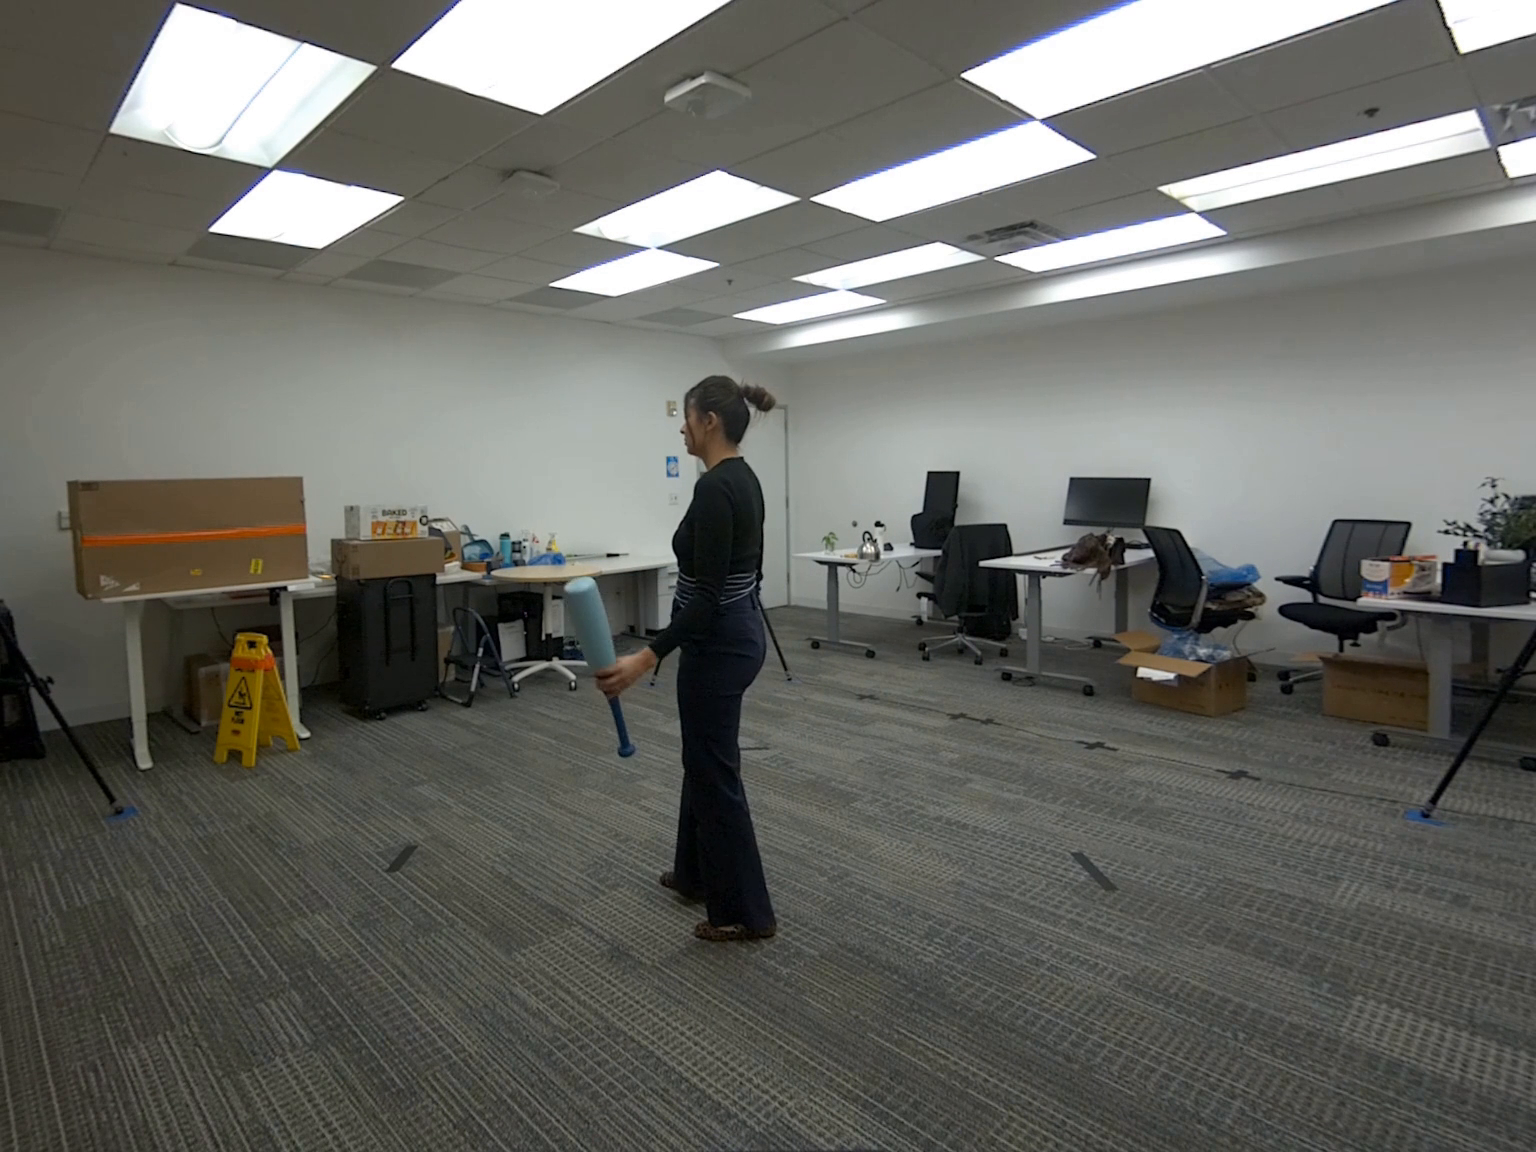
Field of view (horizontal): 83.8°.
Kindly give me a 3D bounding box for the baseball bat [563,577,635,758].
[{"bbox_3d":[-0.435,0.232,2.275,0.089,0.530,0.091,-10,24,3],"label":"baseball bat"}]
